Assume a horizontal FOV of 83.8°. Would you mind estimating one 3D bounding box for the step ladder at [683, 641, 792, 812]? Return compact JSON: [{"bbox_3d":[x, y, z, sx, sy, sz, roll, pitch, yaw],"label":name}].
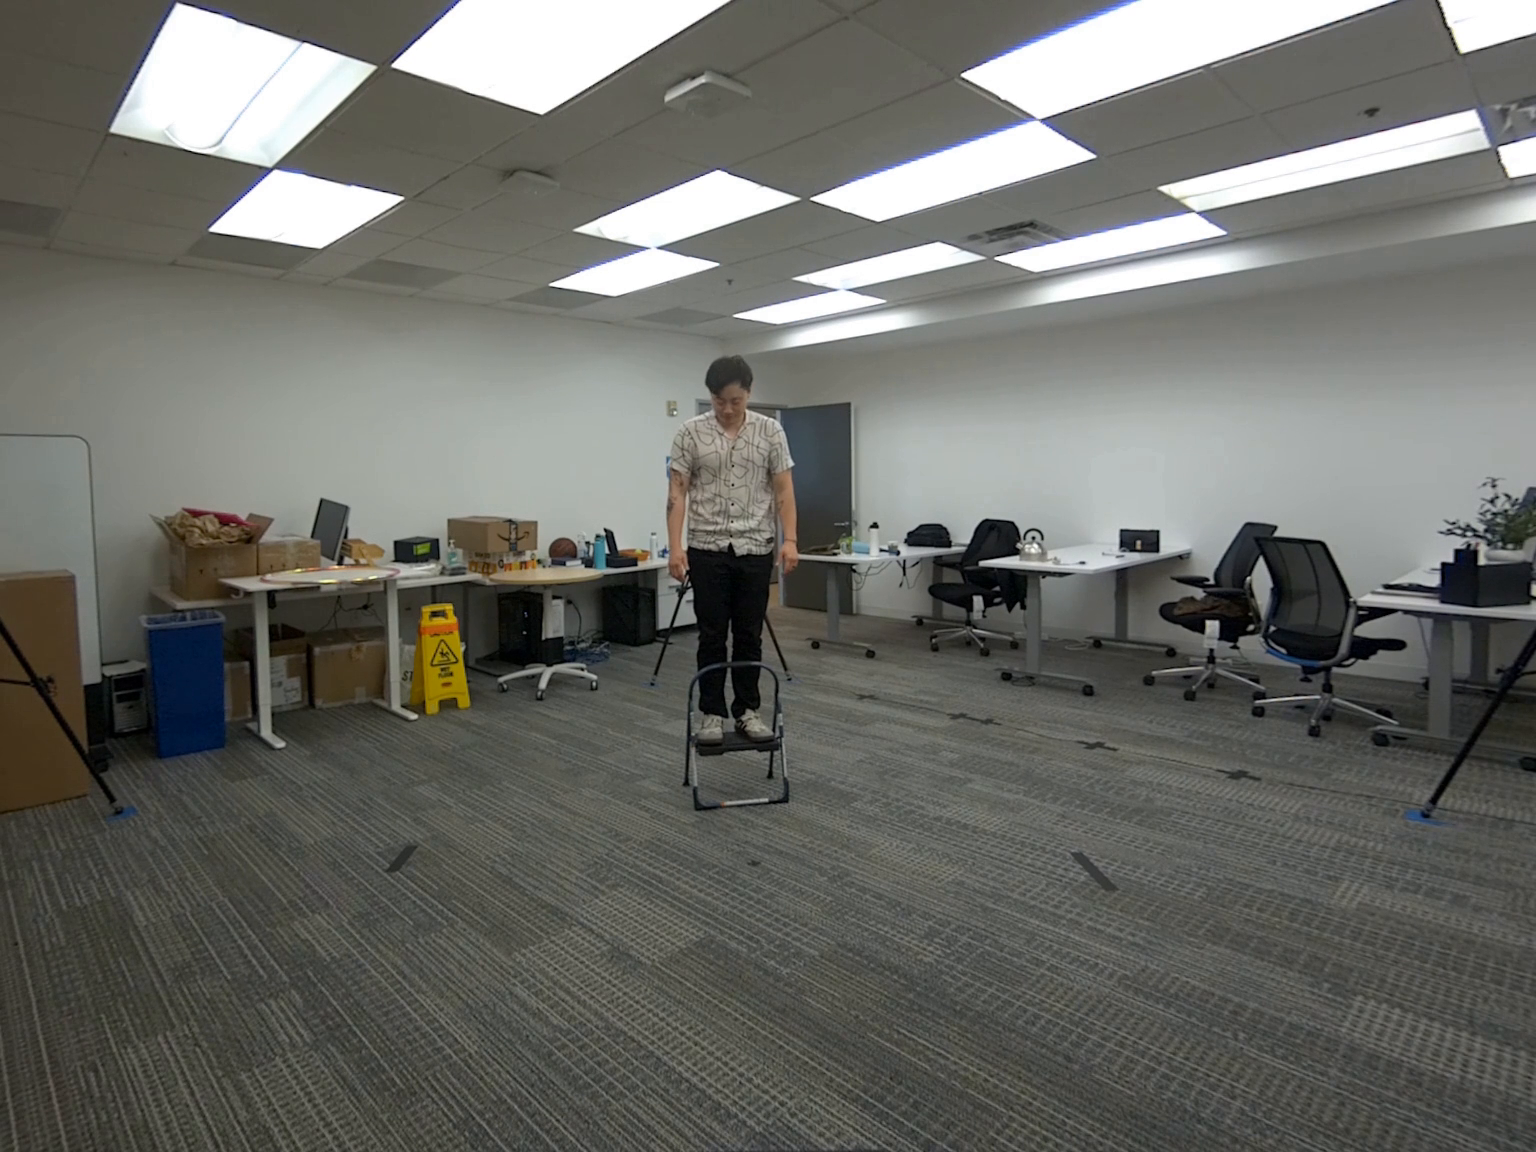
[{"bbox_3d":[-0.151,0.670,3.793,0.426,0.604,0.354,-2,4,-12],"label":"step ladder"}]
